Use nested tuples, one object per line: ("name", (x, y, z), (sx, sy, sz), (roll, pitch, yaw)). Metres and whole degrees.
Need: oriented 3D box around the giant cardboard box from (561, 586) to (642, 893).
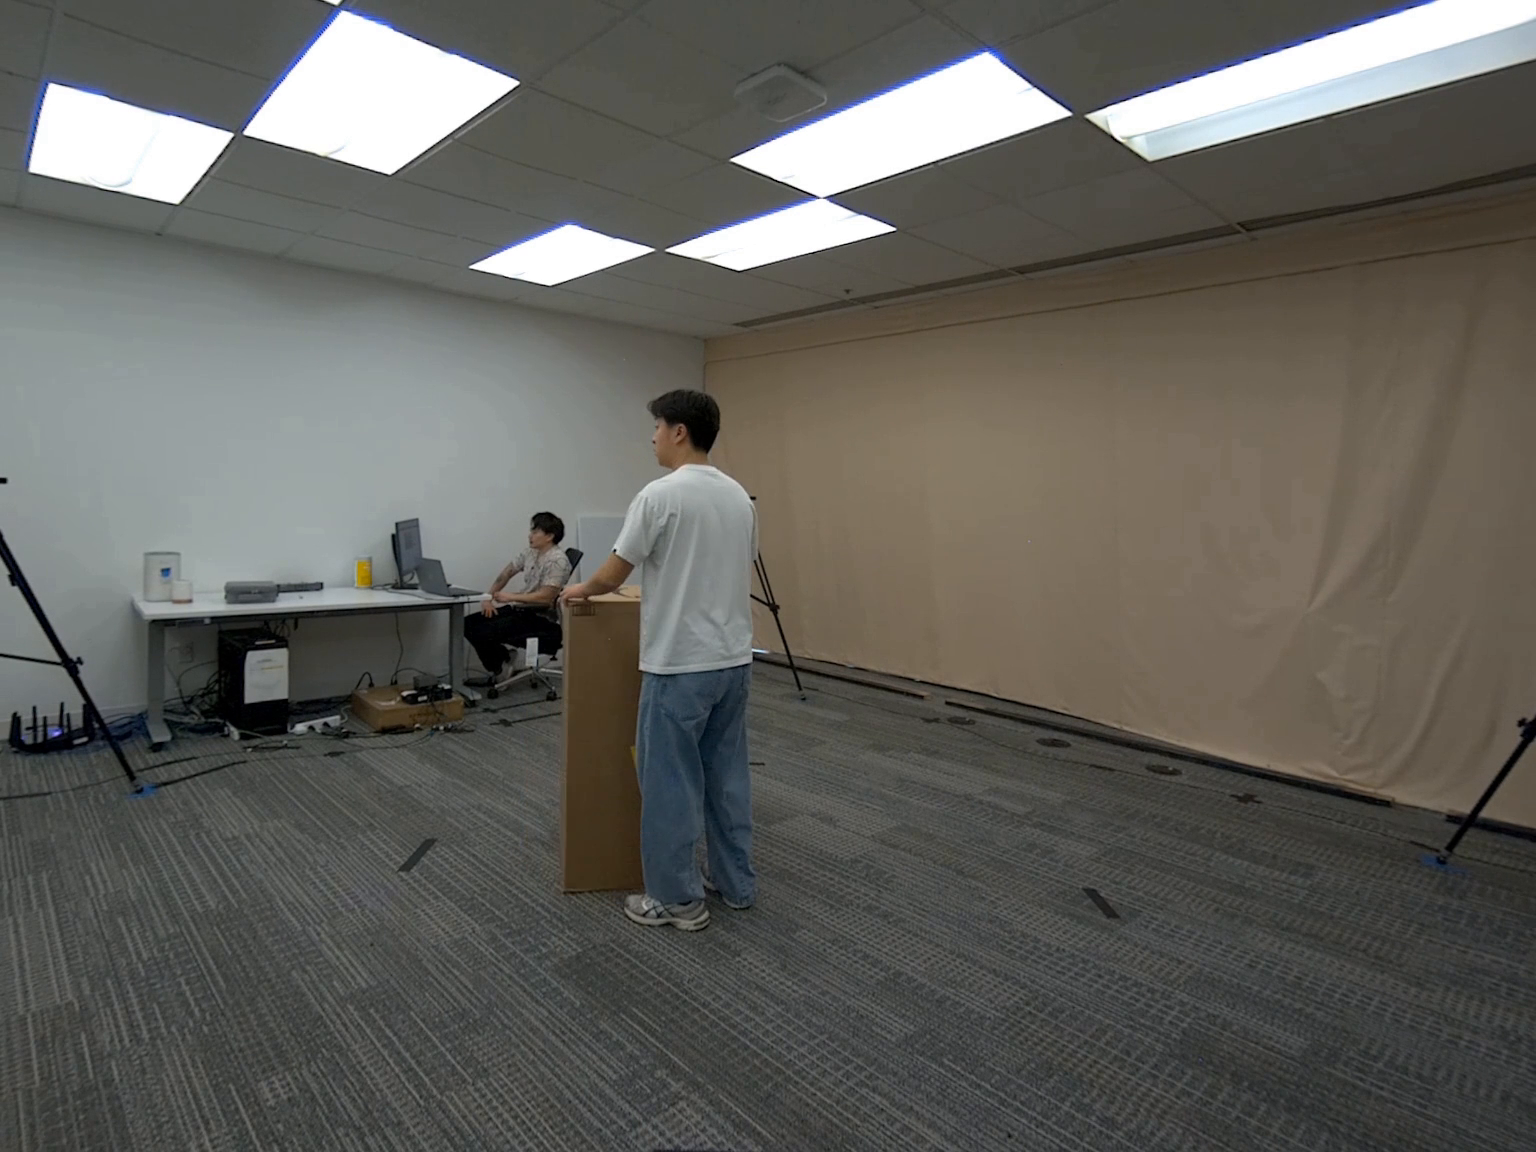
("giant cardboard box", (-0.578, 0.576, 3.239), (0.422, 1.024, 0.585), (1, 2, -14))
